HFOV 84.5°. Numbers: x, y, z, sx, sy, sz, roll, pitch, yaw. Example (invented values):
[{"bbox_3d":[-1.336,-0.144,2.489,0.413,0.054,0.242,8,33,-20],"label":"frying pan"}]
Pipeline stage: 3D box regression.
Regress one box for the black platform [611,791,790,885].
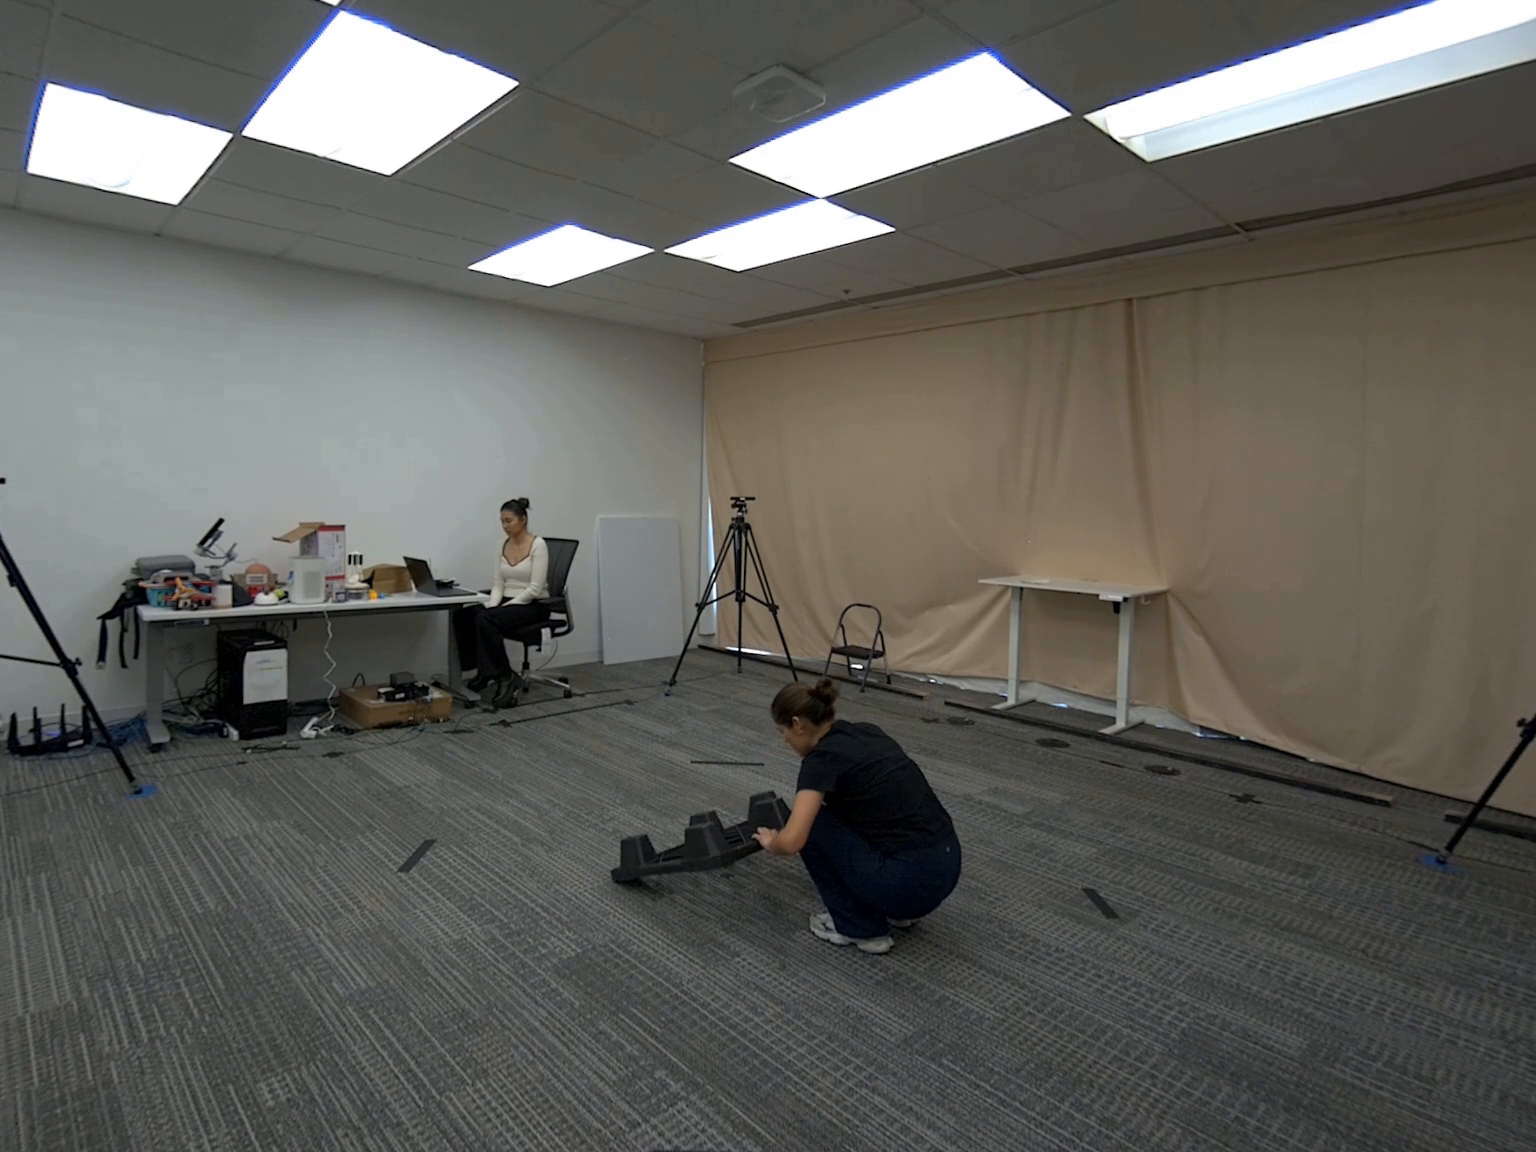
[{"bbox_3d":[-0.114,0.935,3.116,0.612,0.145,0.787,-25,-14,41],"label":"black platform"}]
